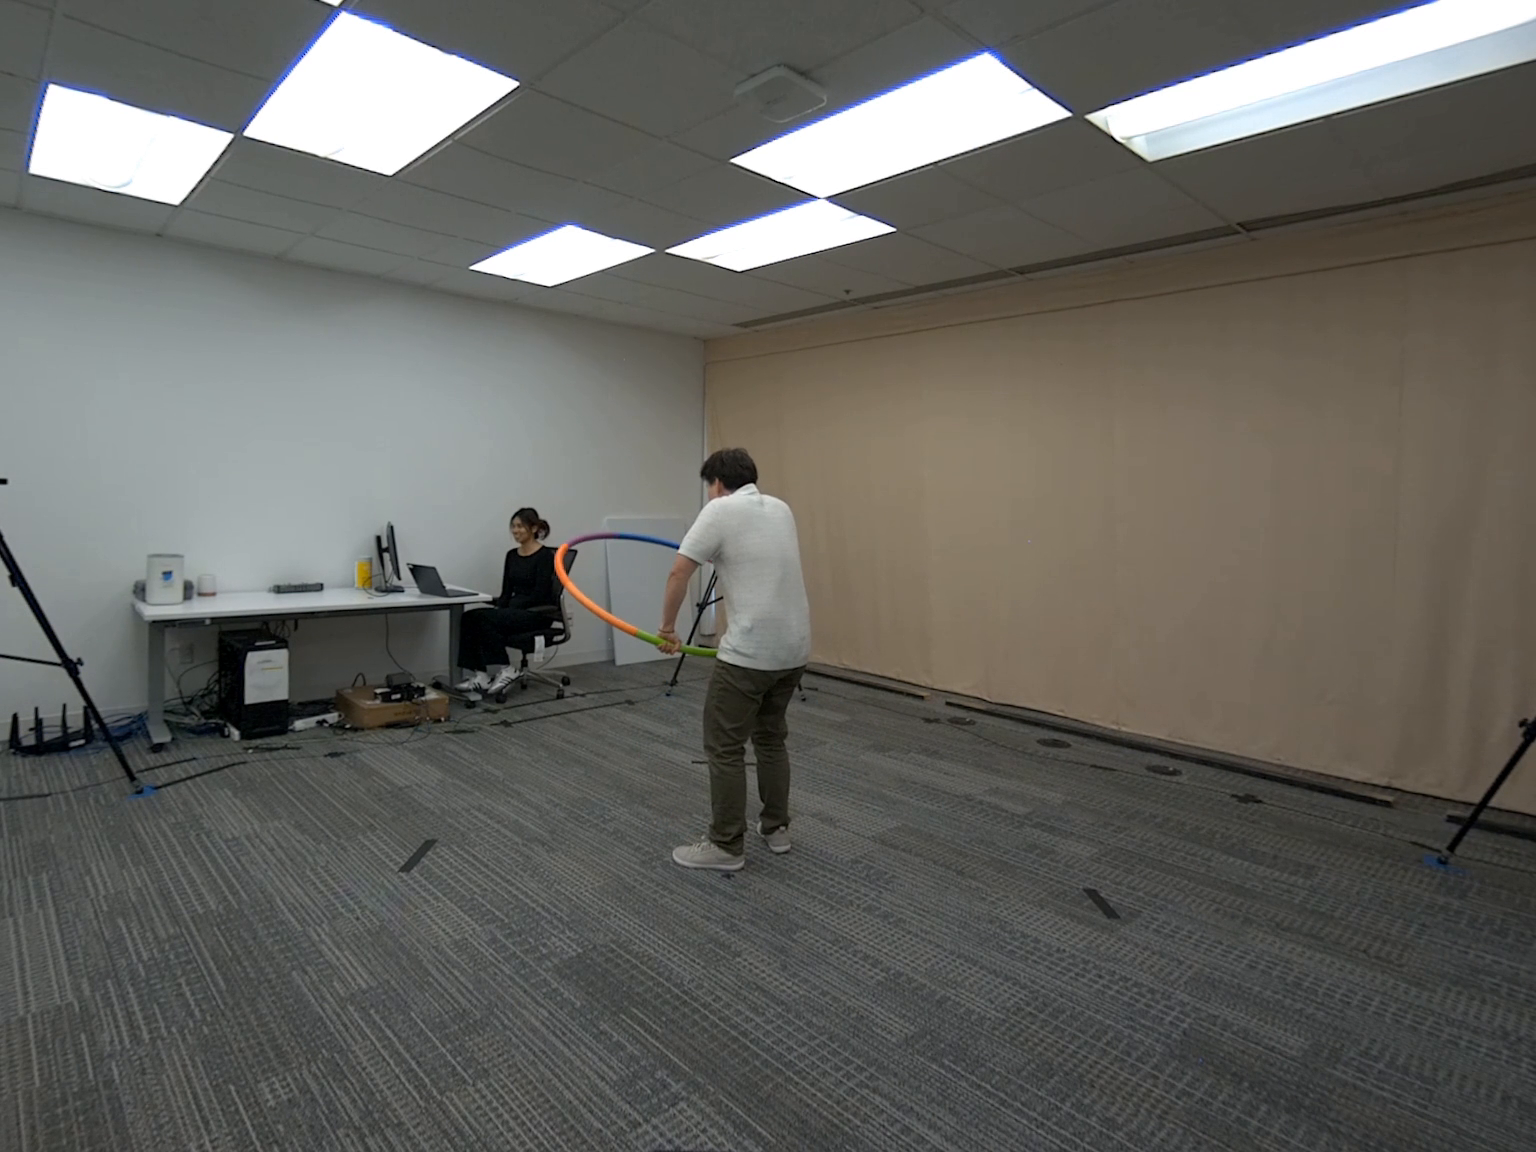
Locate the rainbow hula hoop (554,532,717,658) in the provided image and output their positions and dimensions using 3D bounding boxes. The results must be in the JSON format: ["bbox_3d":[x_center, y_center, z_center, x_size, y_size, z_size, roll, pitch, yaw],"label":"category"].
[{"bbox_3d":[-0.436,0.042,3.666,0.970,0.035,0.995,17,24,-9],"label":"rainbow hula hoop"}]
